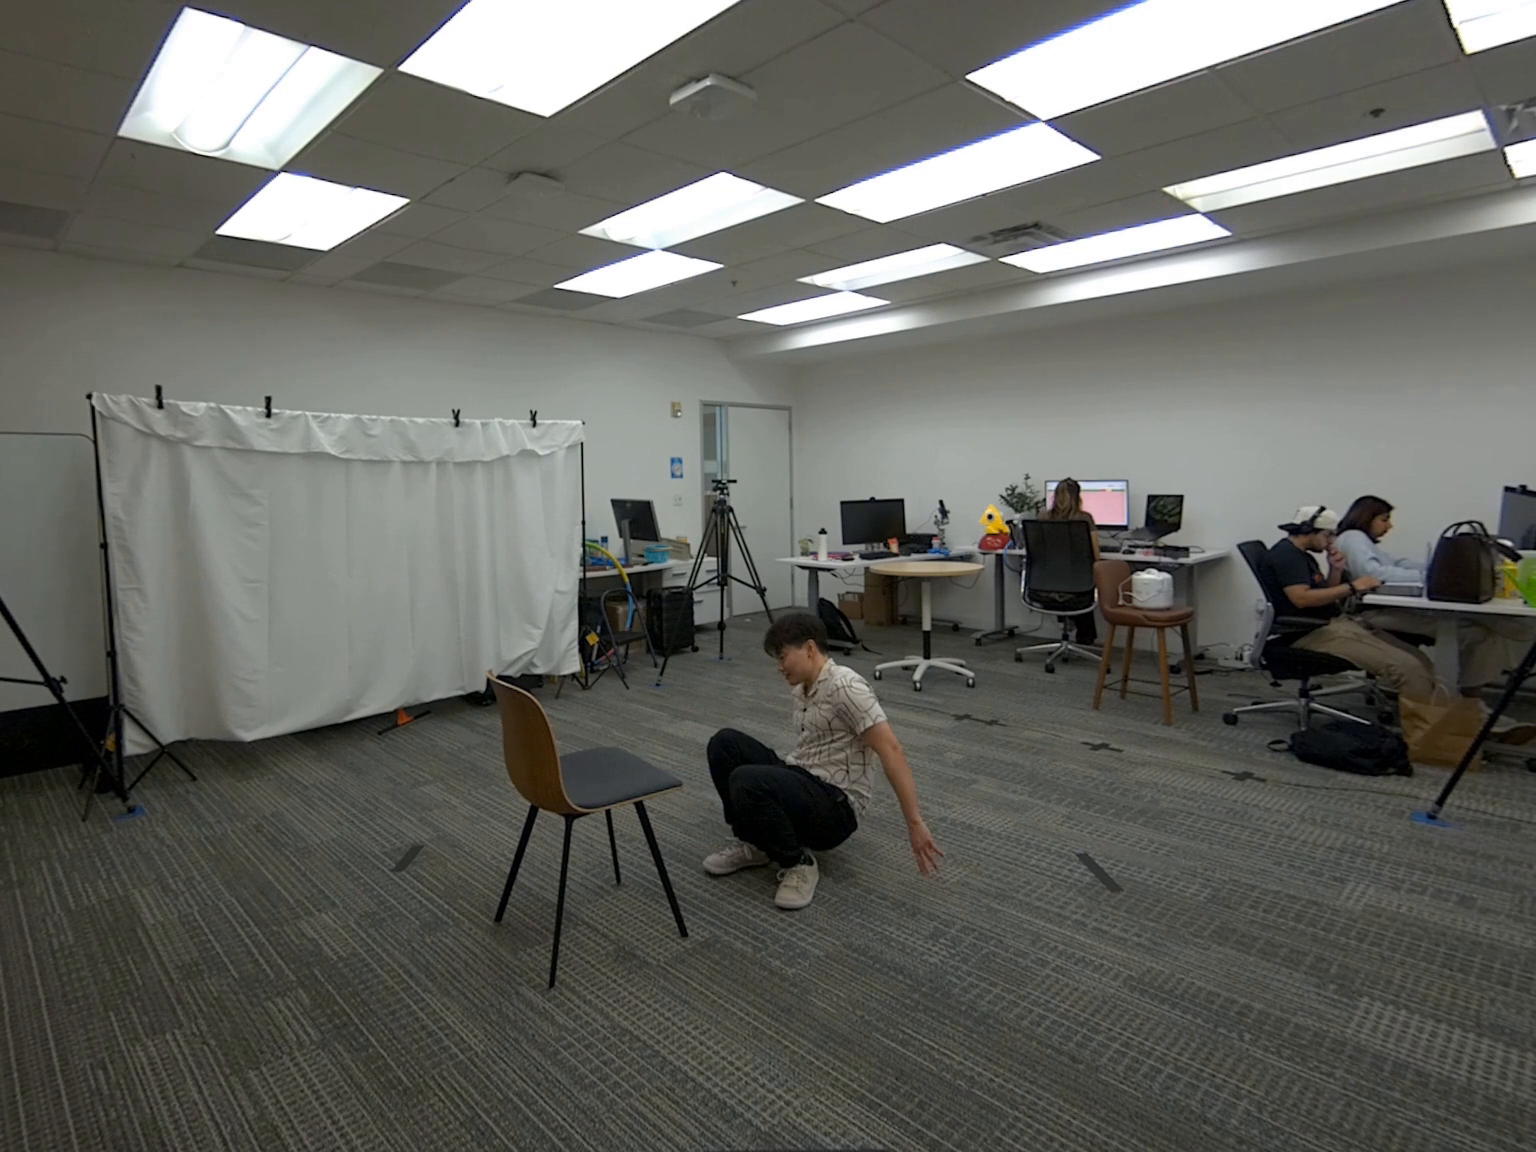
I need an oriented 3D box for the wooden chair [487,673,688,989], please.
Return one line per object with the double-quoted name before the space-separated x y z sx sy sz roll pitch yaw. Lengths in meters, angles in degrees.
"wooden chair" -0.562 0.683 2.650 0.511 0.872 0.492 -9 8 -35
